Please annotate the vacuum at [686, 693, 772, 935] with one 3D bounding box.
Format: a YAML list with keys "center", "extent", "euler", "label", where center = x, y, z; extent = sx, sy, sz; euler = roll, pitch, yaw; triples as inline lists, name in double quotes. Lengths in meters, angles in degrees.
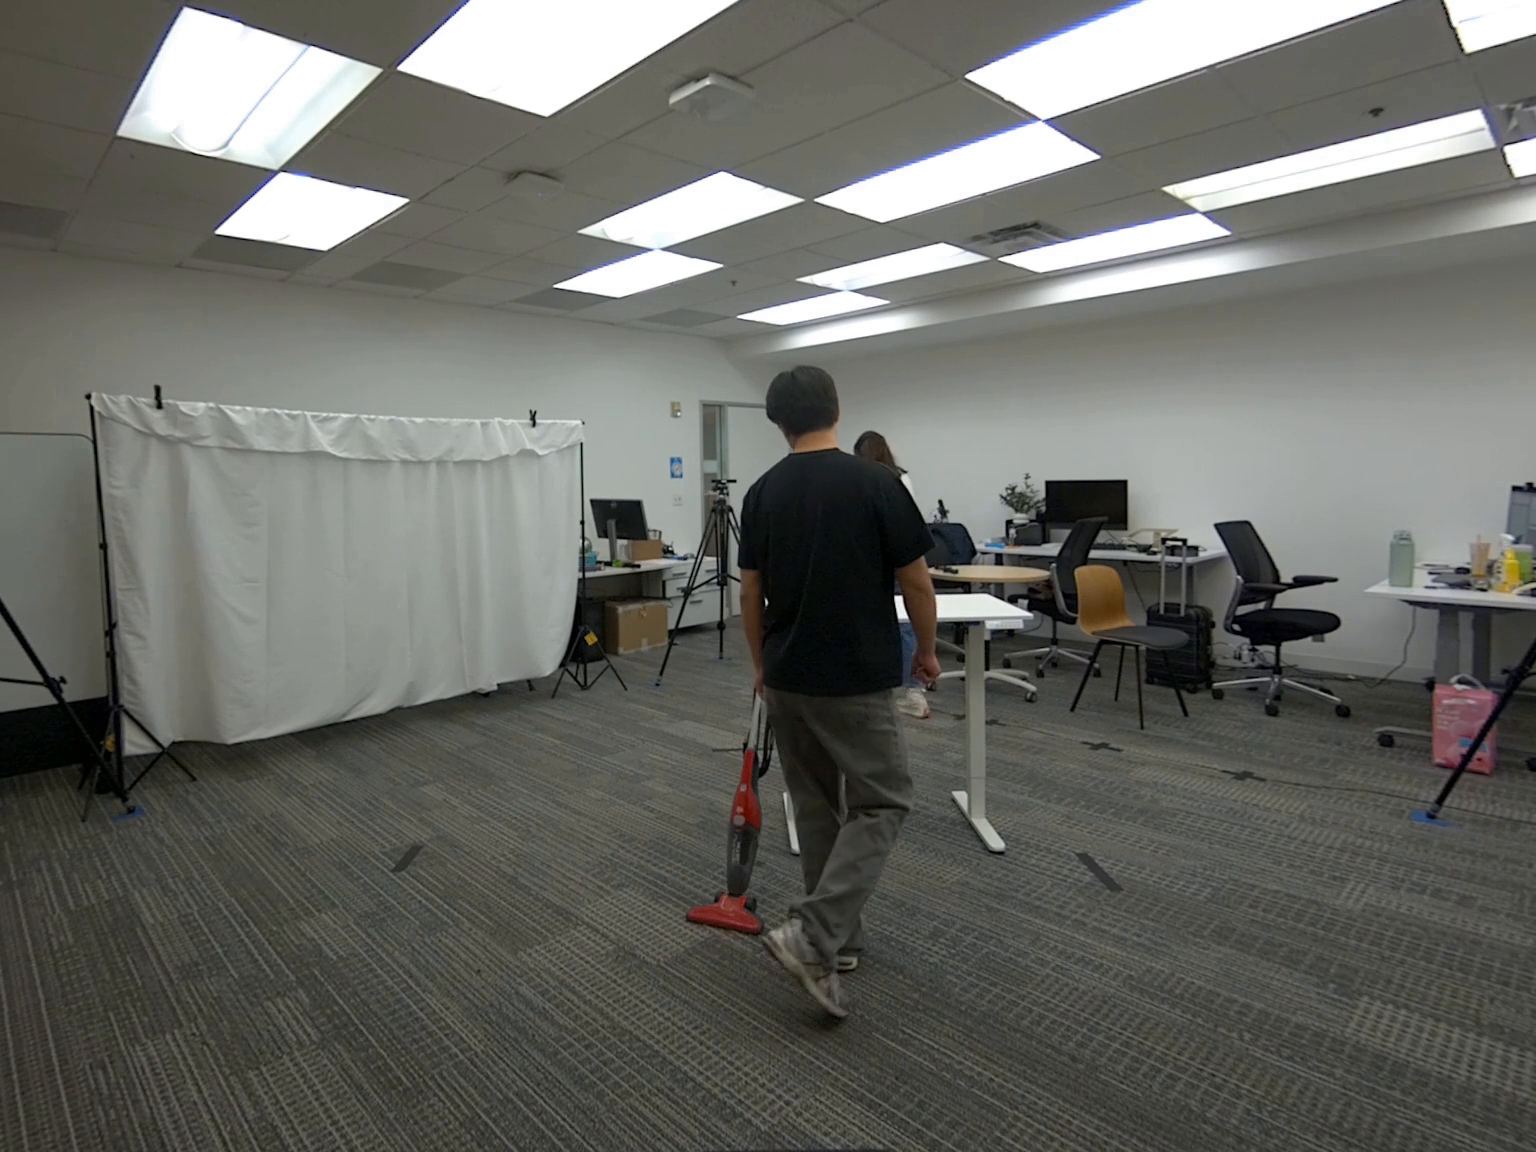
- center: [-0.046, 0.602, 2.930]
  extent: [0.258, 1.066, 0.139]
  euler: [-1, -25, 23]
  label: "vacuum"
